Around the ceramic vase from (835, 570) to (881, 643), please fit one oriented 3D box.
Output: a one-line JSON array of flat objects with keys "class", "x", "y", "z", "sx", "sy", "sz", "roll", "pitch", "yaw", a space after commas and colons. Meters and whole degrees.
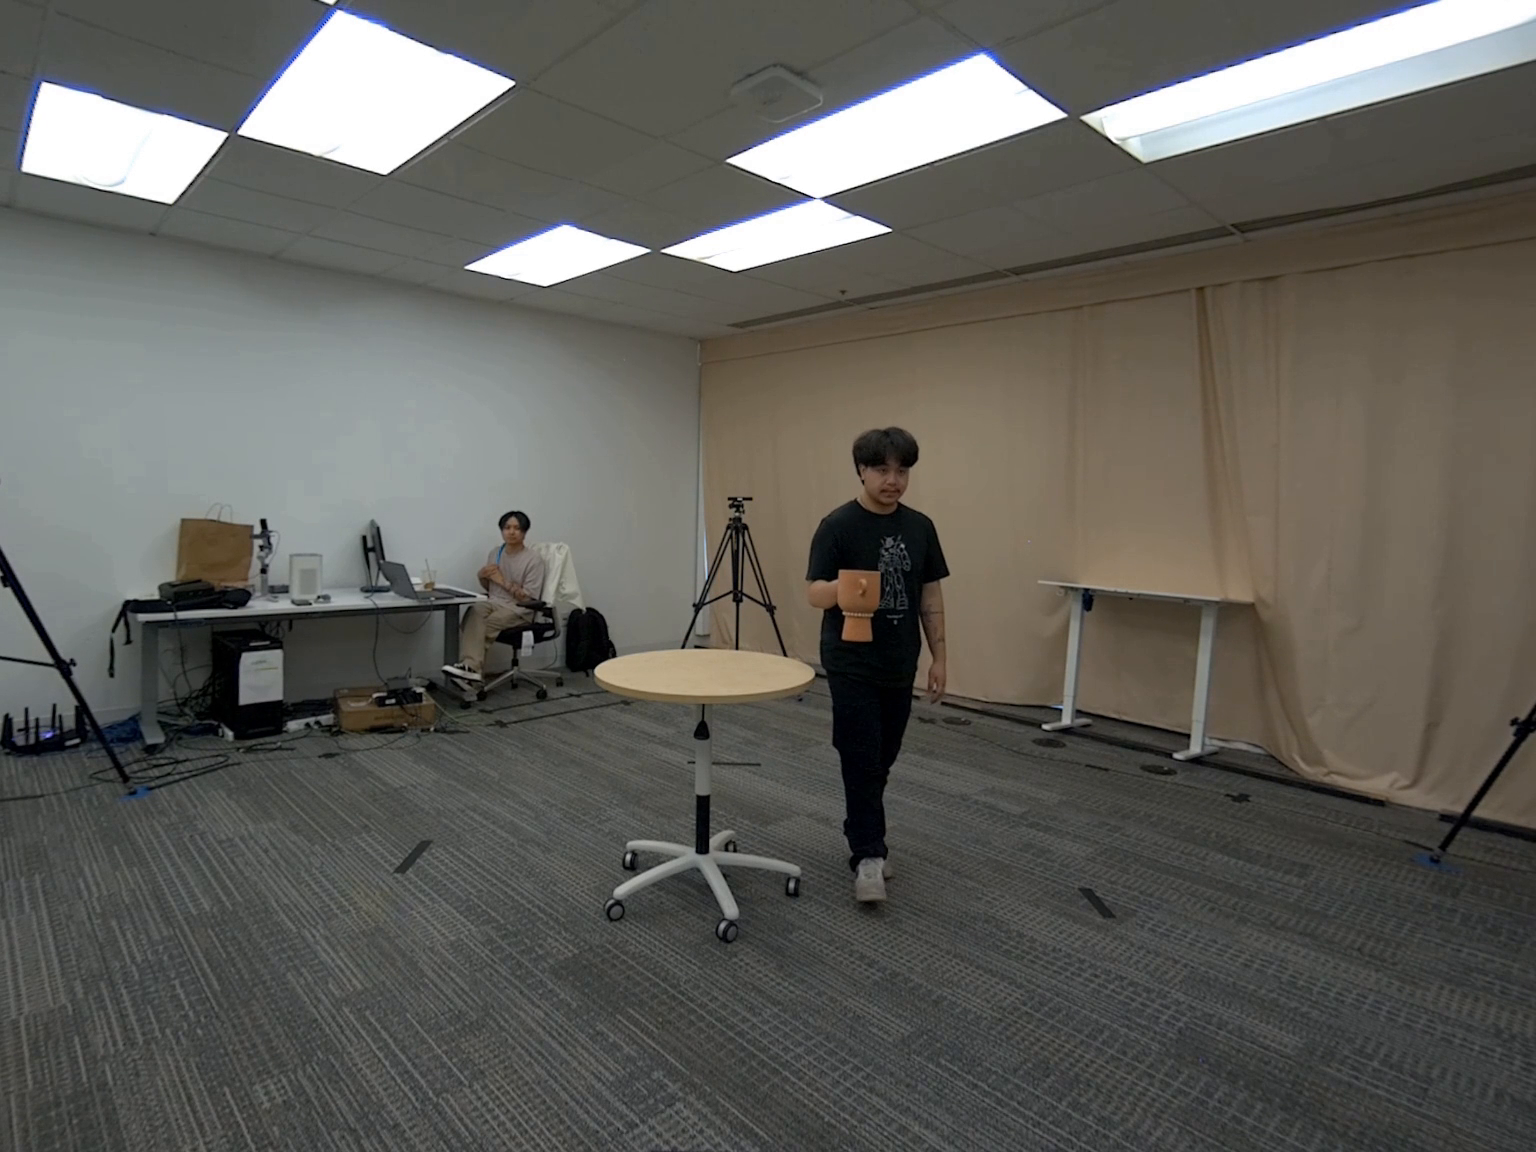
[{"class": "ceramic vase", "x": 0.278, "y": 0.094, "z": 2.677, "sx": 0.138, "sy": 0.220, "sz": 0.155, "roll": 2, "pitch": 1, "yaw": 36}]
